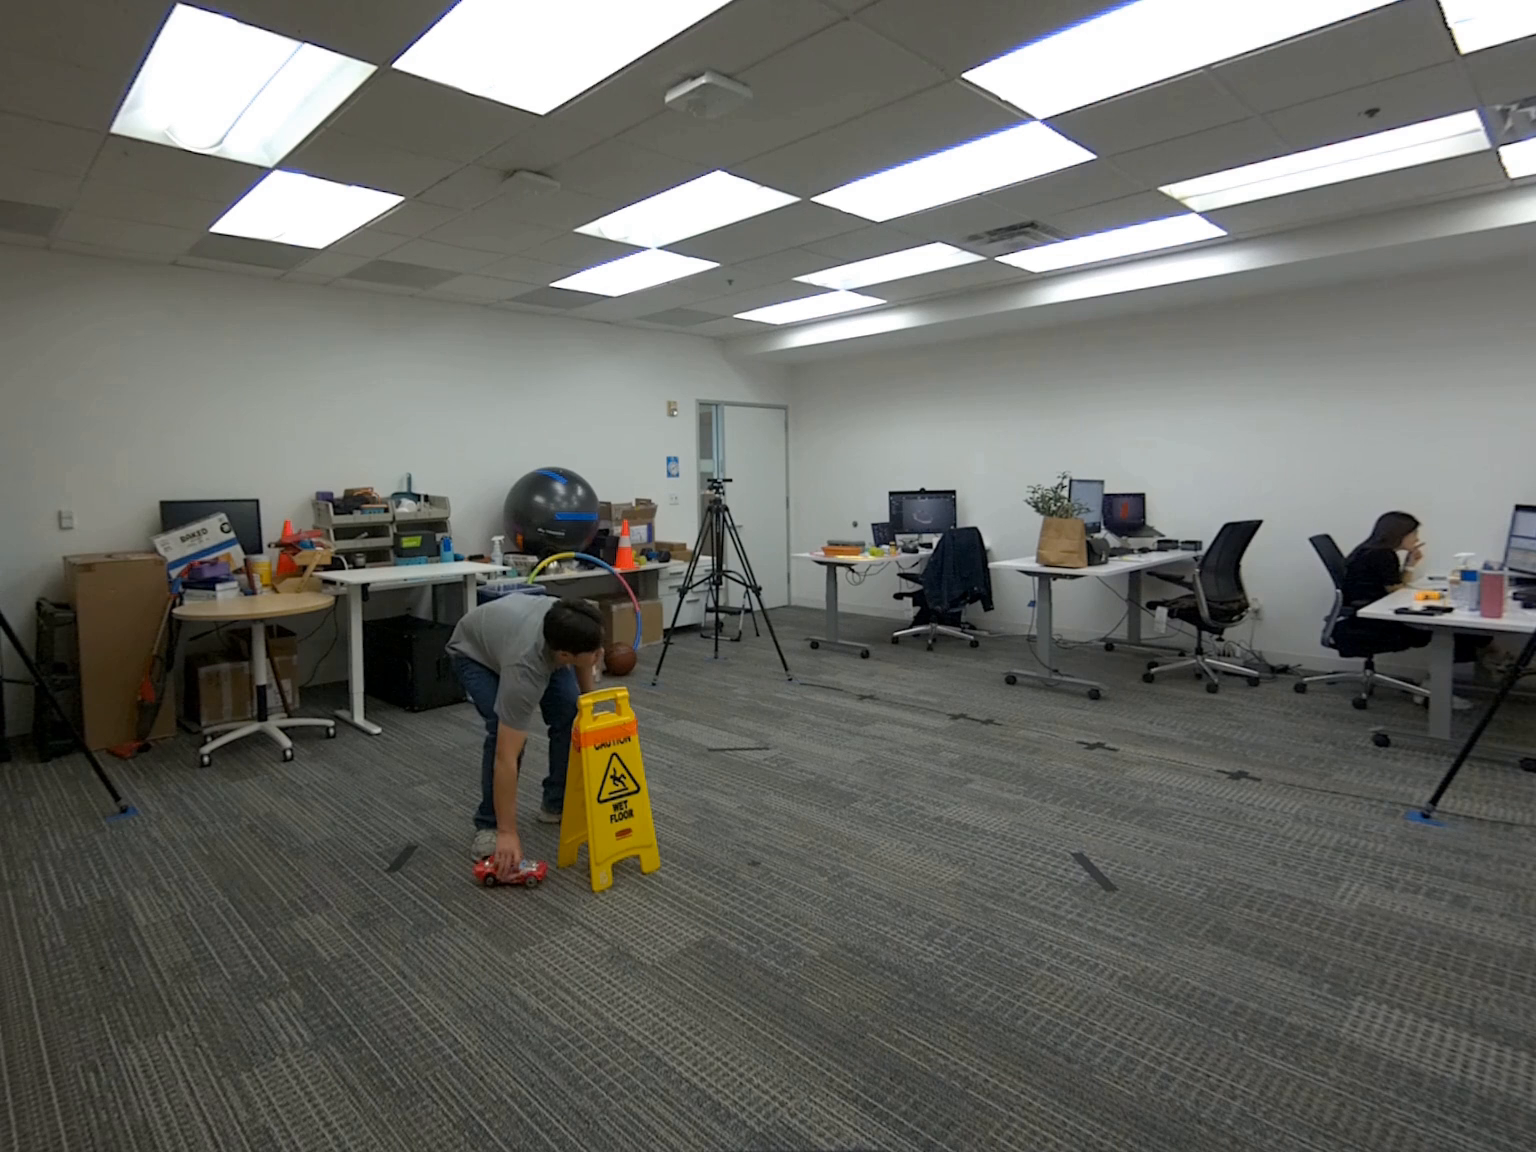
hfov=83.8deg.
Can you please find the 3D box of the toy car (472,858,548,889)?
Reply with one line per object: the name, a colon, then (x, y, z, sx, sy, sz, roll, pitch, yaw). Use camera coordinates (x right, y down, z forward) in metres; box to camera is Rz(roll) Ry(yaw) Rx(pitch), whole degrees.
toy car: (-0.909, 1.032, 3.021, 0.255, 0.083, 0.130, 10, 5, 1)
